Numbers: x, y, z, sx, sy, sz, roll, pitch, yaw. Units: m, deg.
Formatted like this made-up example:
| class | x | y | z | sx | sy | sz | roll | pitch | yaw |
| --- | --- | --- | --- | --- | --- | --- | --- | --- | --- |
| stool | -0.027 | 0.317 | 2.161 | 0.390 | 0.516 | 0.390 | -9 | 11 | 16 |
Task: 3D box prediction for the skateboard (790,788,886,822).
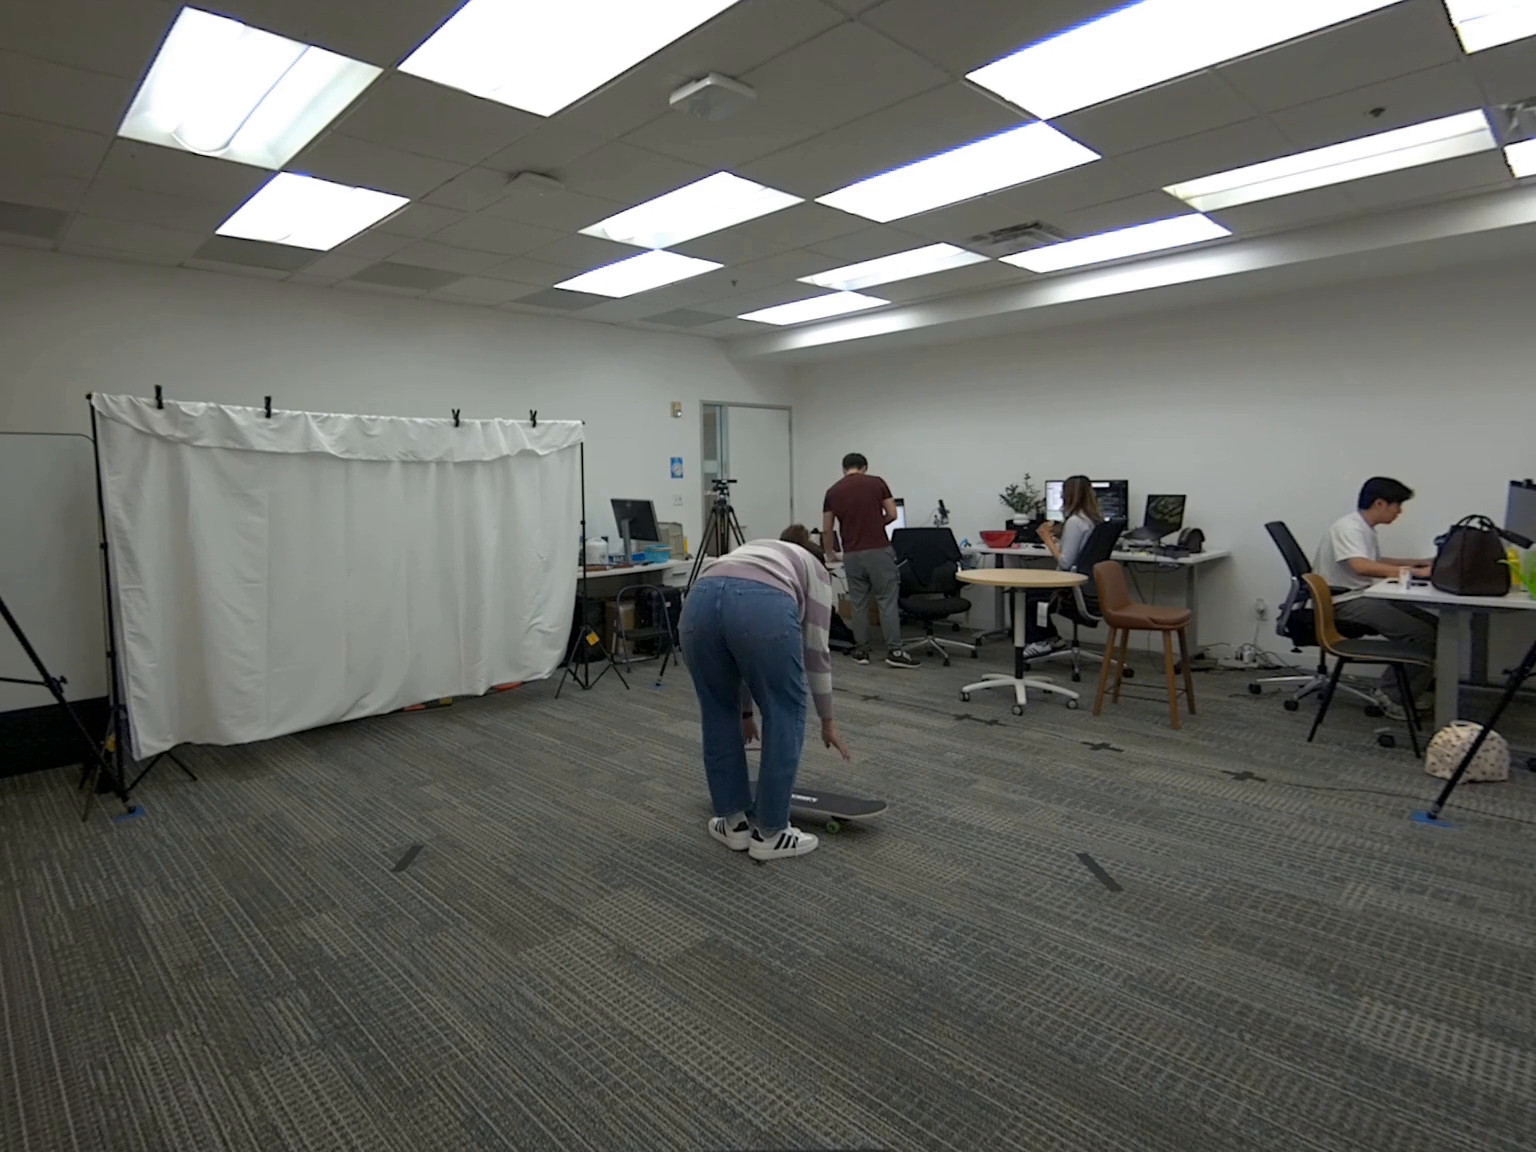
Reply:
| class | x | y | z | sx | sy | sz | roll | pitch | yaw |
| --- | --- | --- | --- | --- | --- | --- | --- | --- | --- |
| skateboard | 0.109 | 0.941 | 3.528 | 0.805 | 0.110 | 0.190 | 2 | 8 | 27 |
